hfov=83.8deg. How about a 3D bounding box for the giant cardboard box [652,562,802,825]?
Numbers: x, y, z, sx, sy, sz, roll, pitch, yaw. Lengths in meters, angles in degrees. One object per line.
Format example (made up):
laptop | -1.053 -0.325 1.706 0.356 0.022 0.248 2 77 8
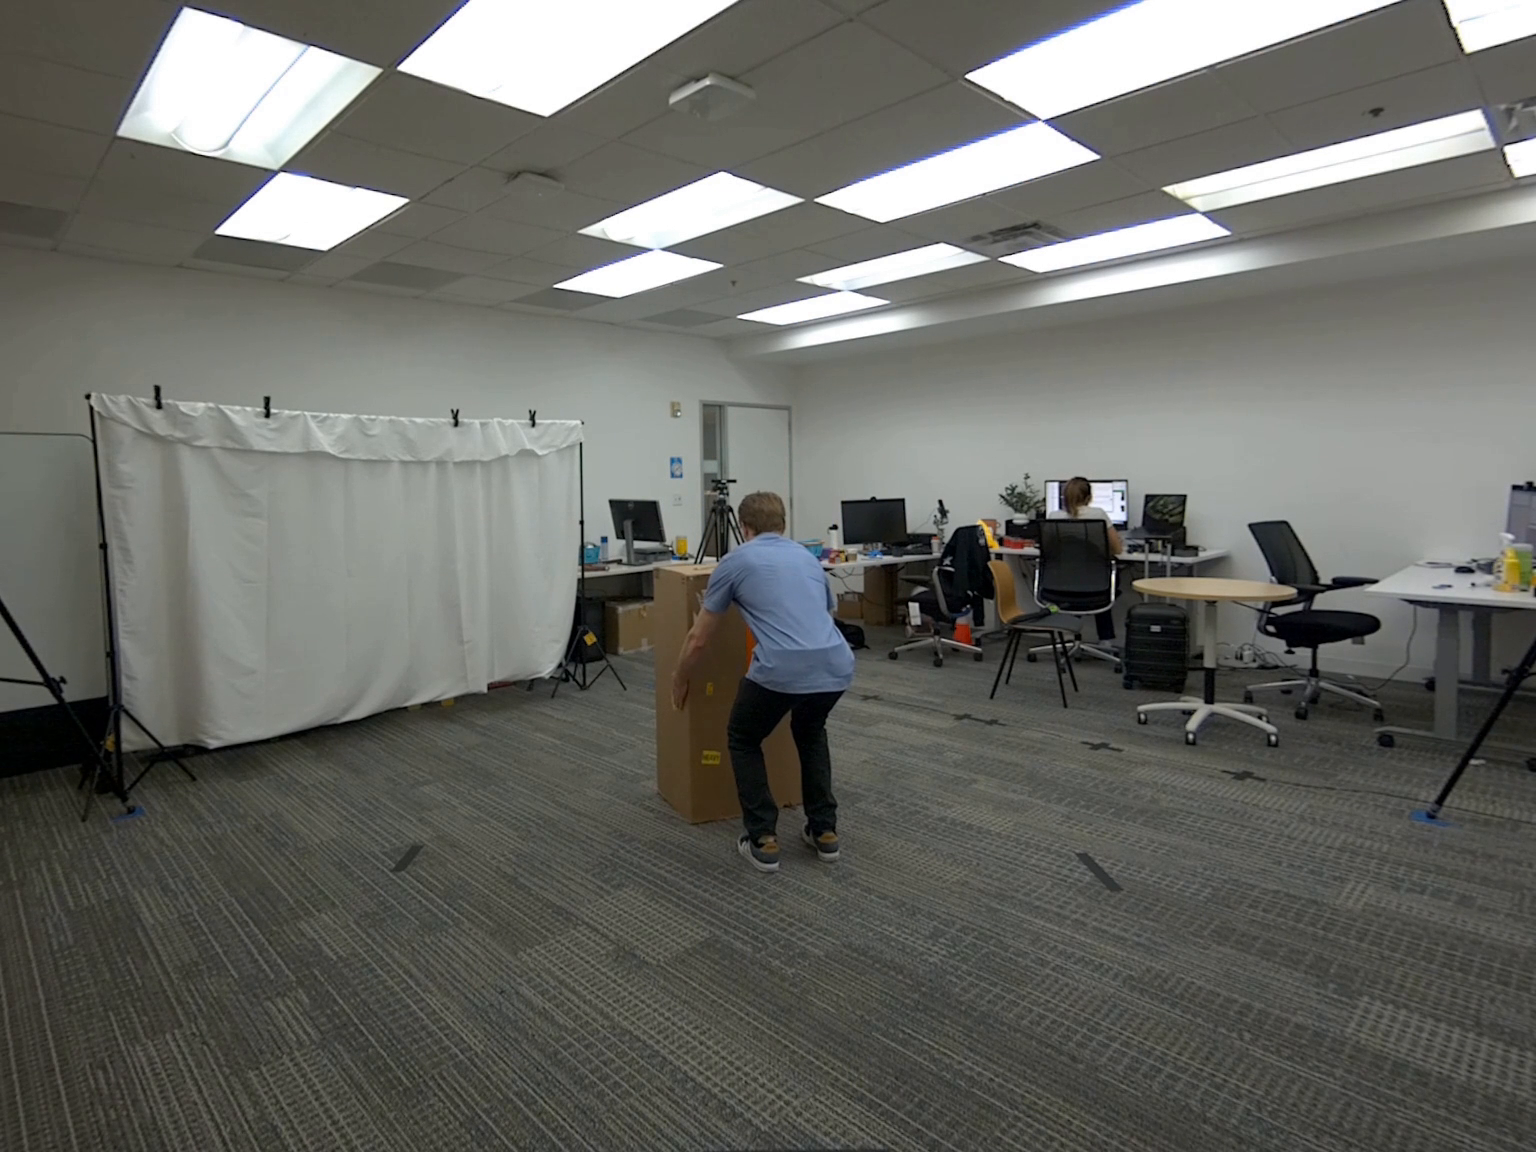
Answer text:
giant cardboard box | -0.156 0.470 3.745 0.566 1.023 0.436 -2 4 -25
